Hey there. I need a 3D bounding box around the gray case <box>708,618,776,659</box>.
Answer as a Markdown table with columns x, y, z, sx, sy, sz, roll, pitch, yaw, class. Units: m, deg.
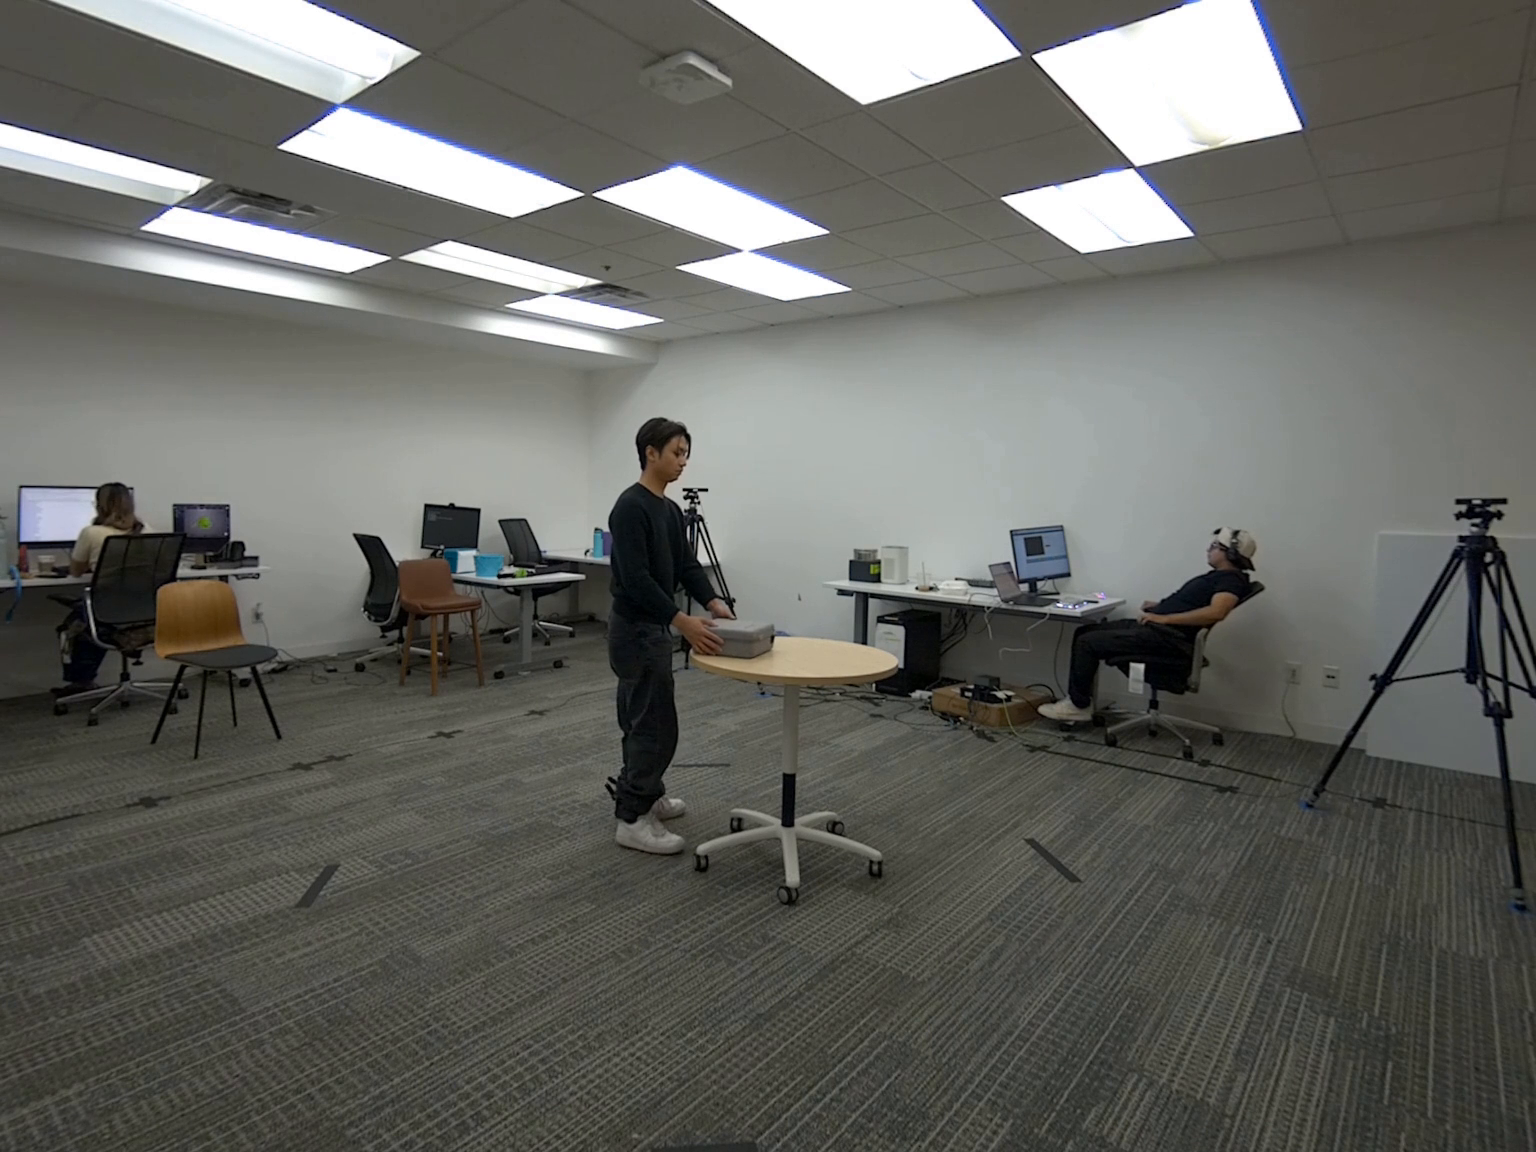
| x | y | z | sx | sy | sz | roll | pitch | yaw | class |
| --- | --- | --- | --- | --- | --- | --- | --- | --- | --- |
| -0.127 | 0.232 | 3.180 | 0.266 | 0.104 | 0.252 | 2 | 6 | 19 | gray case |
